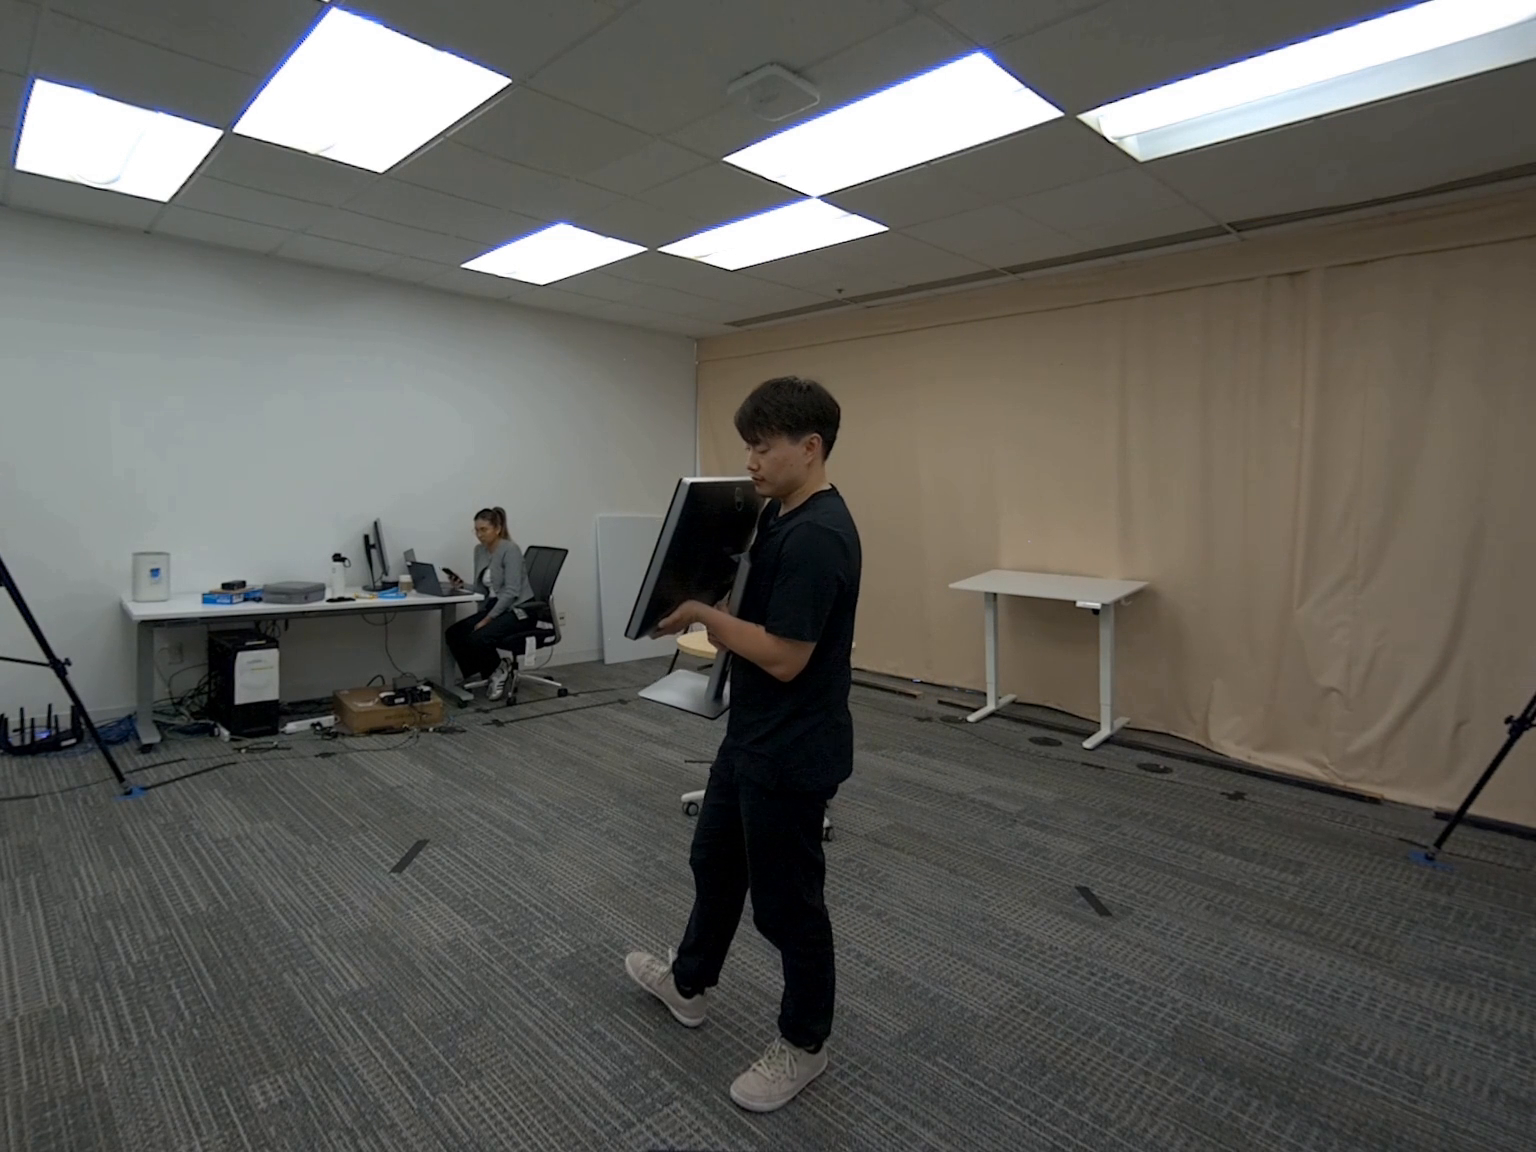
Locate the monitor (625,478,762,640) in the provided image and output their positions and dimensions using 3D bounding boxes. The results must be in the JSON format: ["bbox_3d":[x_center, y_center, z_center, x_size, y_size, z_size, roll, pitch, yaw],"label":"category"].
[{"bbox_3d":[-0.133,0.032,2.006,0.190,0.519,0.534,12,10,16],"label":"monitor"}]
